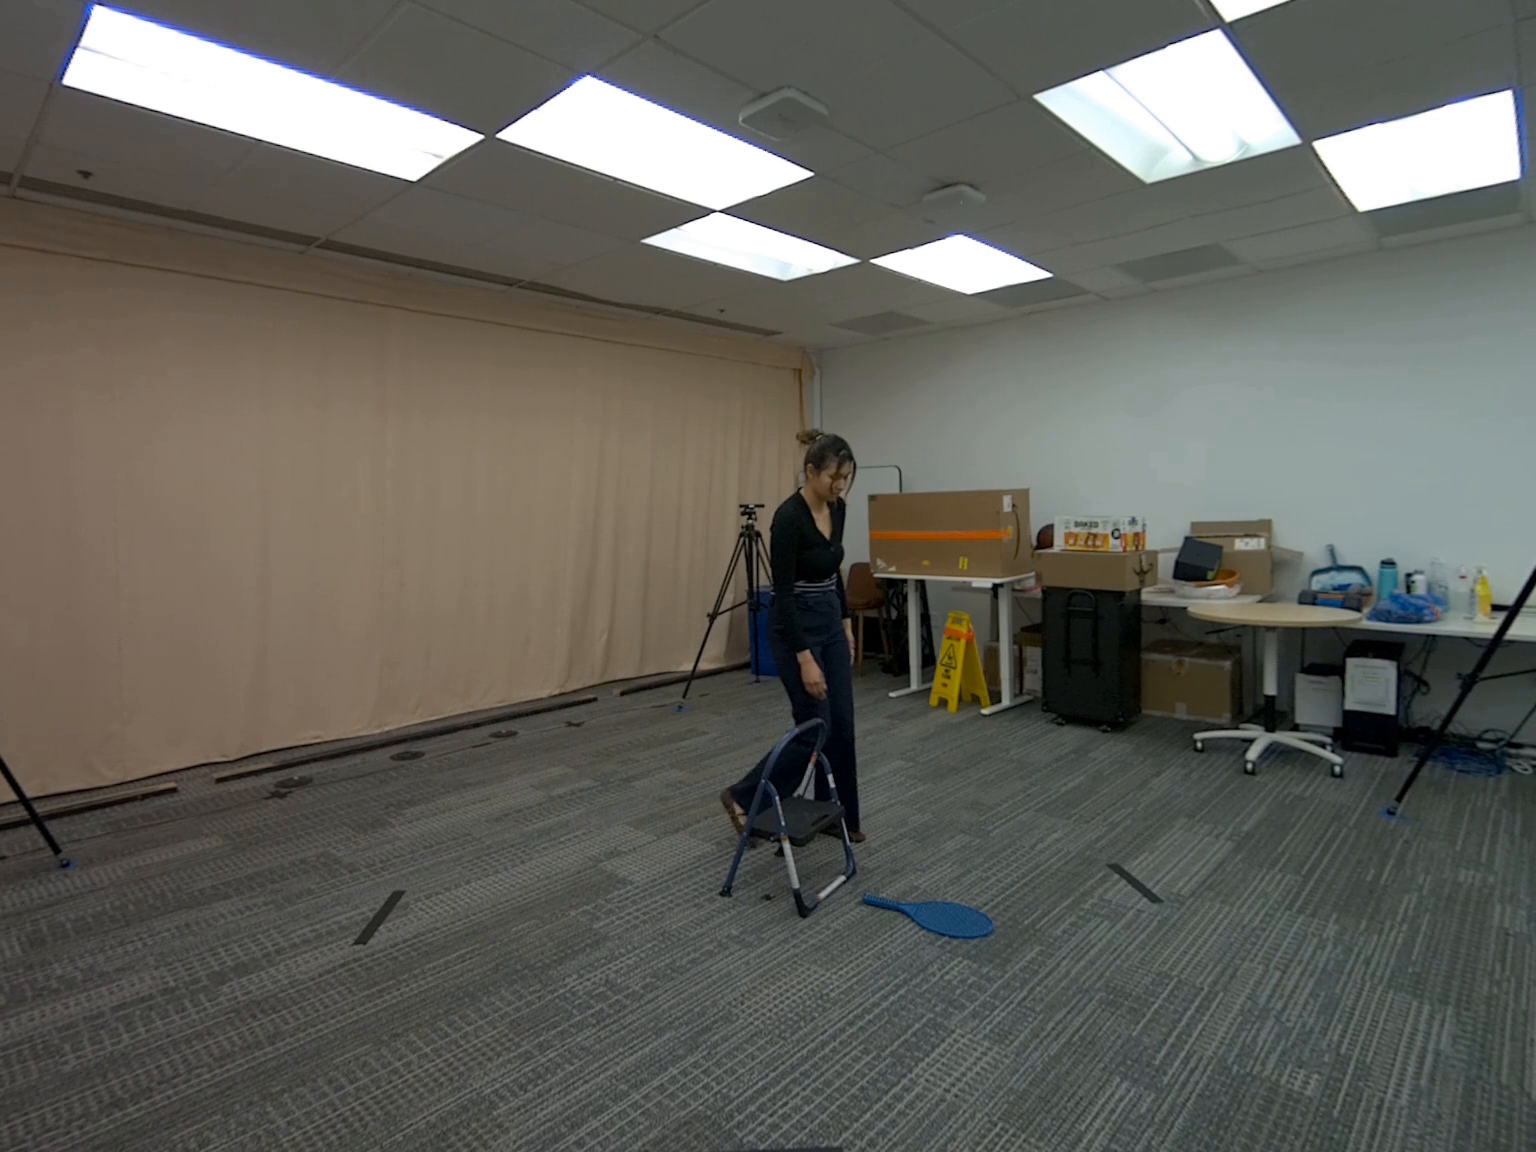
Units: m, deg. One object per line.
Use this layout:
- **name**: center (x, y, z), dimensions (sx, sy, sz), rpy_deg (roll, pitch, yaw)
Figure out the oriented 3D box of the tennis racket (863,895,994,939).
- **tennis racket**: center (0.538, 1.131, 2.825), dimensions (0.444, 0.031, 0.209), rpy_deg (3, 7, 25)
